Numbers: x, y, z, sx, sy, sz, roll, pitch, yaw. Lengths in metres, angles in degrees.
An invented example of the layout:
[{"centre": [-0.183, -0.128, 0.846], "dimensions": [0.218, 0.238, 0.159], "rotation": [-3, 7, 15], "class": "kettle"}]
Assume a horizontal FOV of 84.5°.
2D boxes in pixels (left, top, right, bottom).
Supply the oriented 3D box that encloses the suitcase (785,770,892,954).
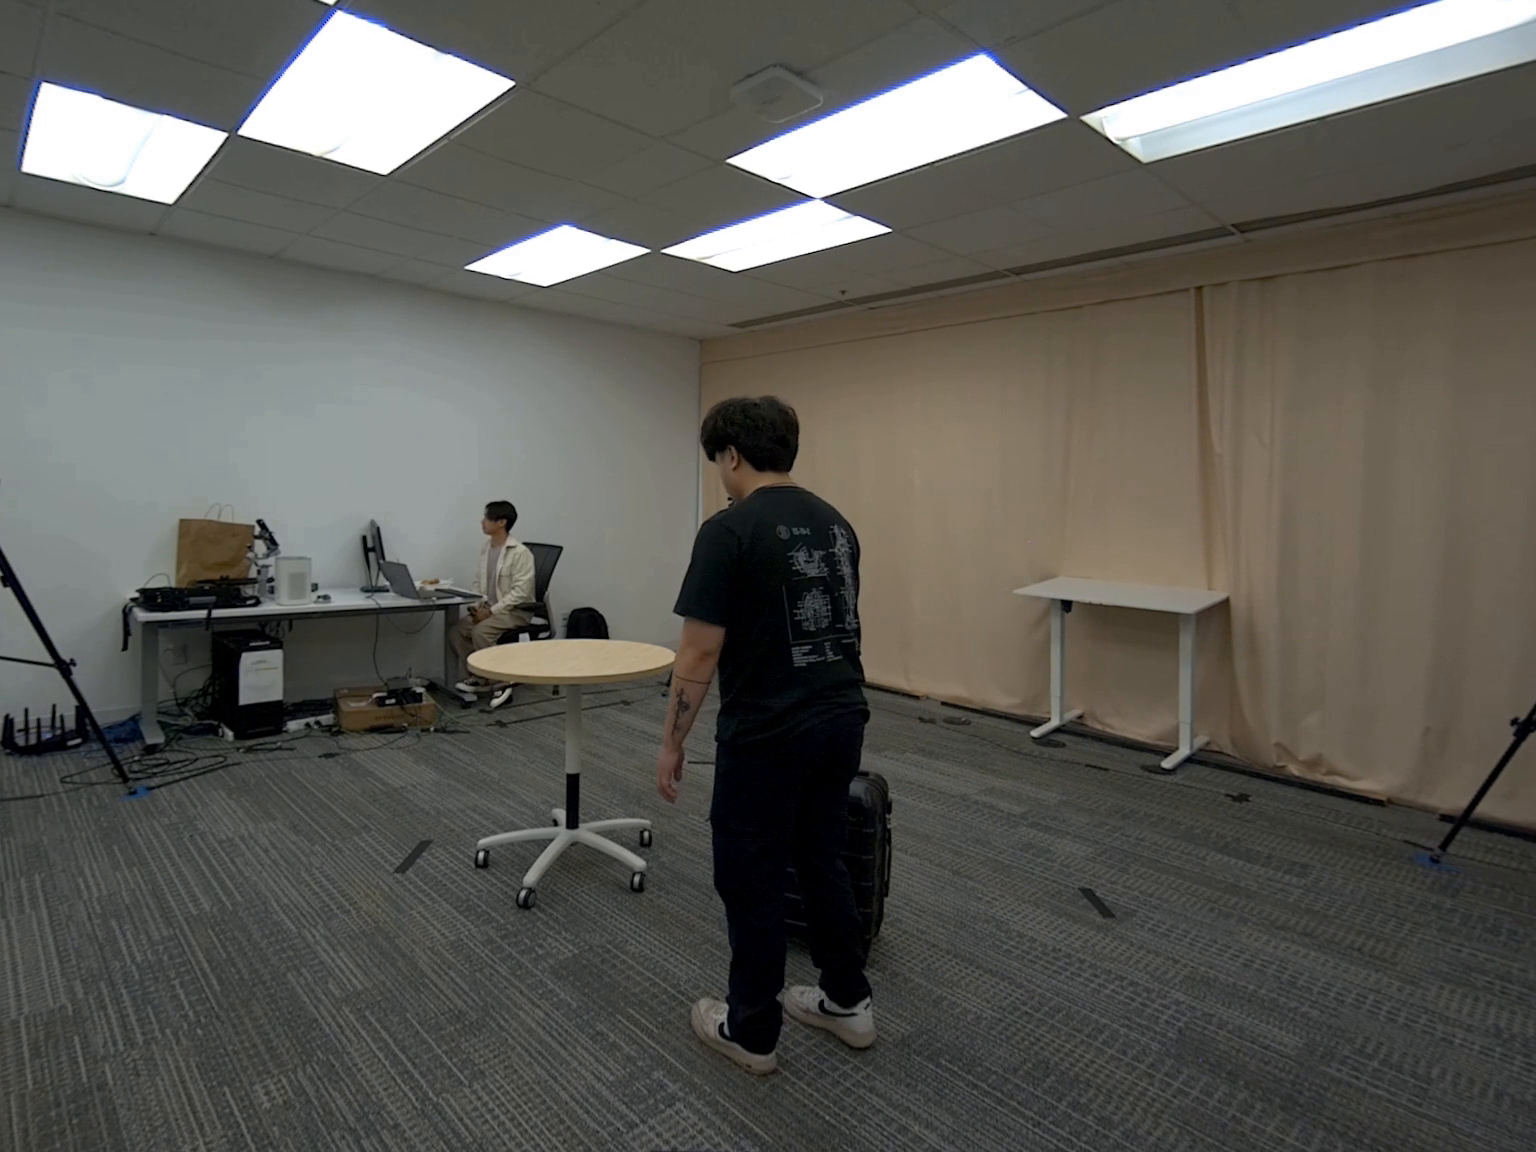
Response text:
[{"centre": [0.190, 0.886, 2.640], "dimensions": [0.381, 0.548, 0.245], "rotation": [4, 4, 19], "class": "suitcase"}]
